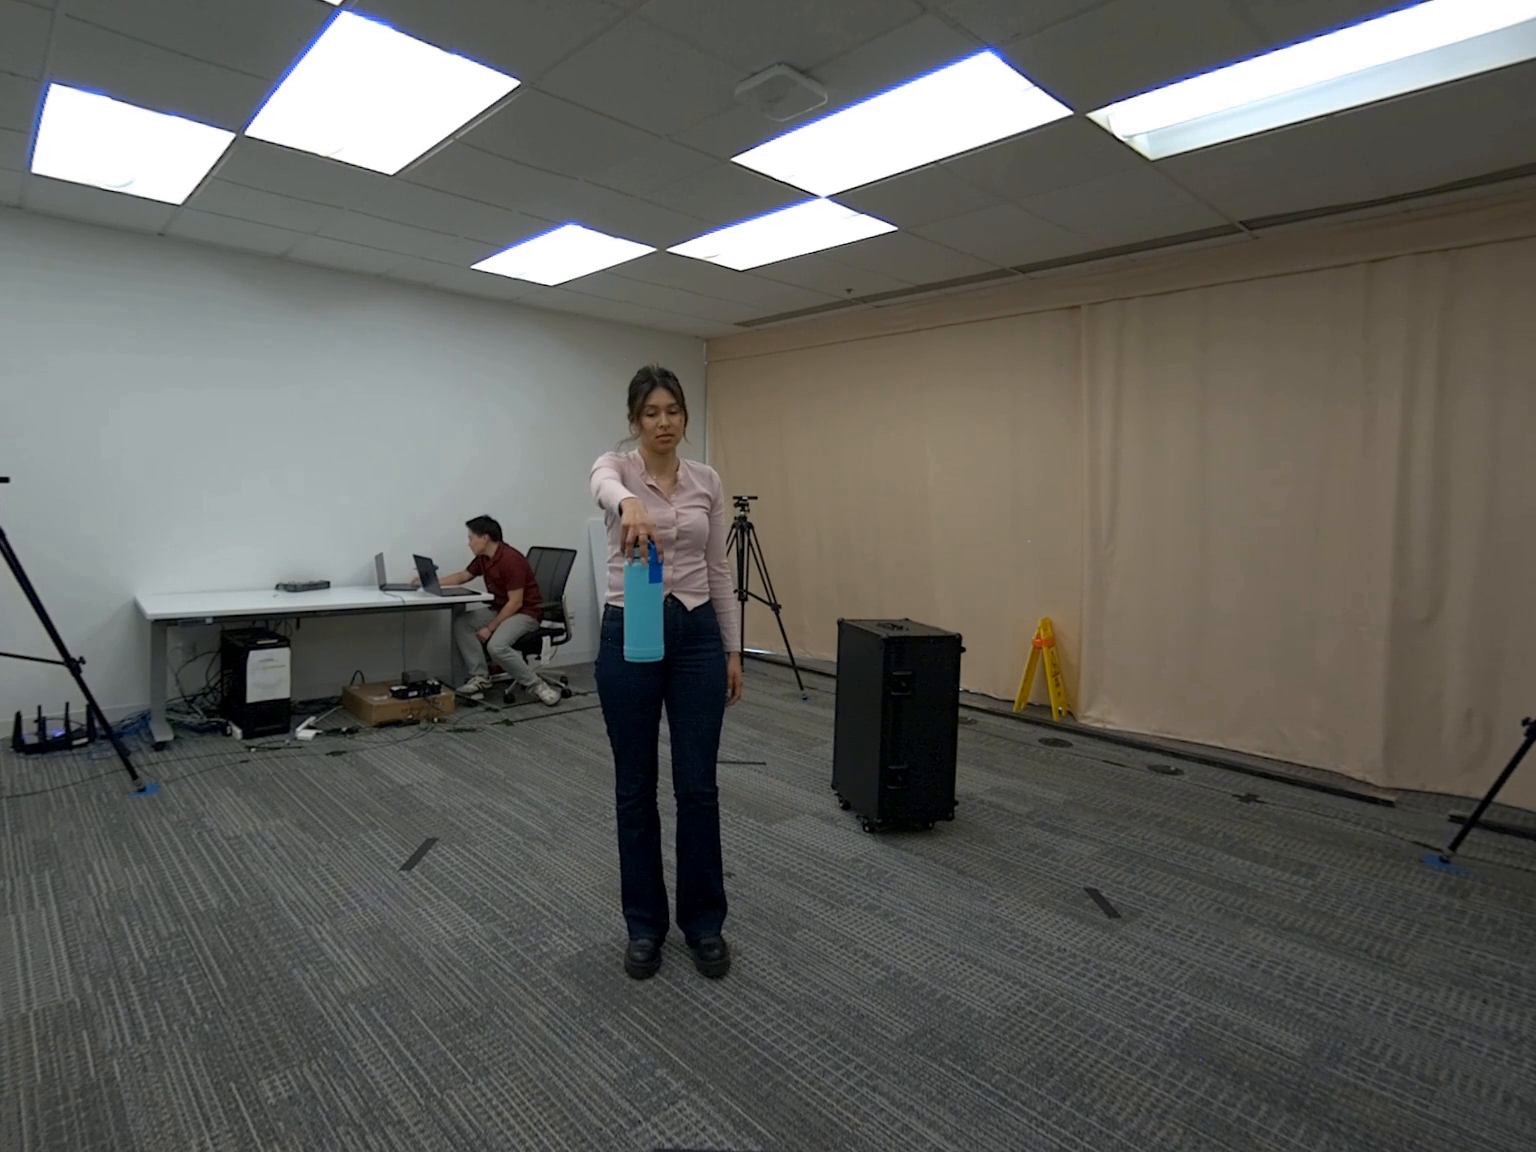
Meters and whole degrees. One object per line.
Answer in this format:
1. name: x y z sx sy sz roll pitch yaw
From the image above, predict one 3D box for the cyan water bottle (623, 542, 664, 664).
1. cyan water bottle: -0.296 0.052 1.894 0.092 0.283 0.092 1 3 -1
